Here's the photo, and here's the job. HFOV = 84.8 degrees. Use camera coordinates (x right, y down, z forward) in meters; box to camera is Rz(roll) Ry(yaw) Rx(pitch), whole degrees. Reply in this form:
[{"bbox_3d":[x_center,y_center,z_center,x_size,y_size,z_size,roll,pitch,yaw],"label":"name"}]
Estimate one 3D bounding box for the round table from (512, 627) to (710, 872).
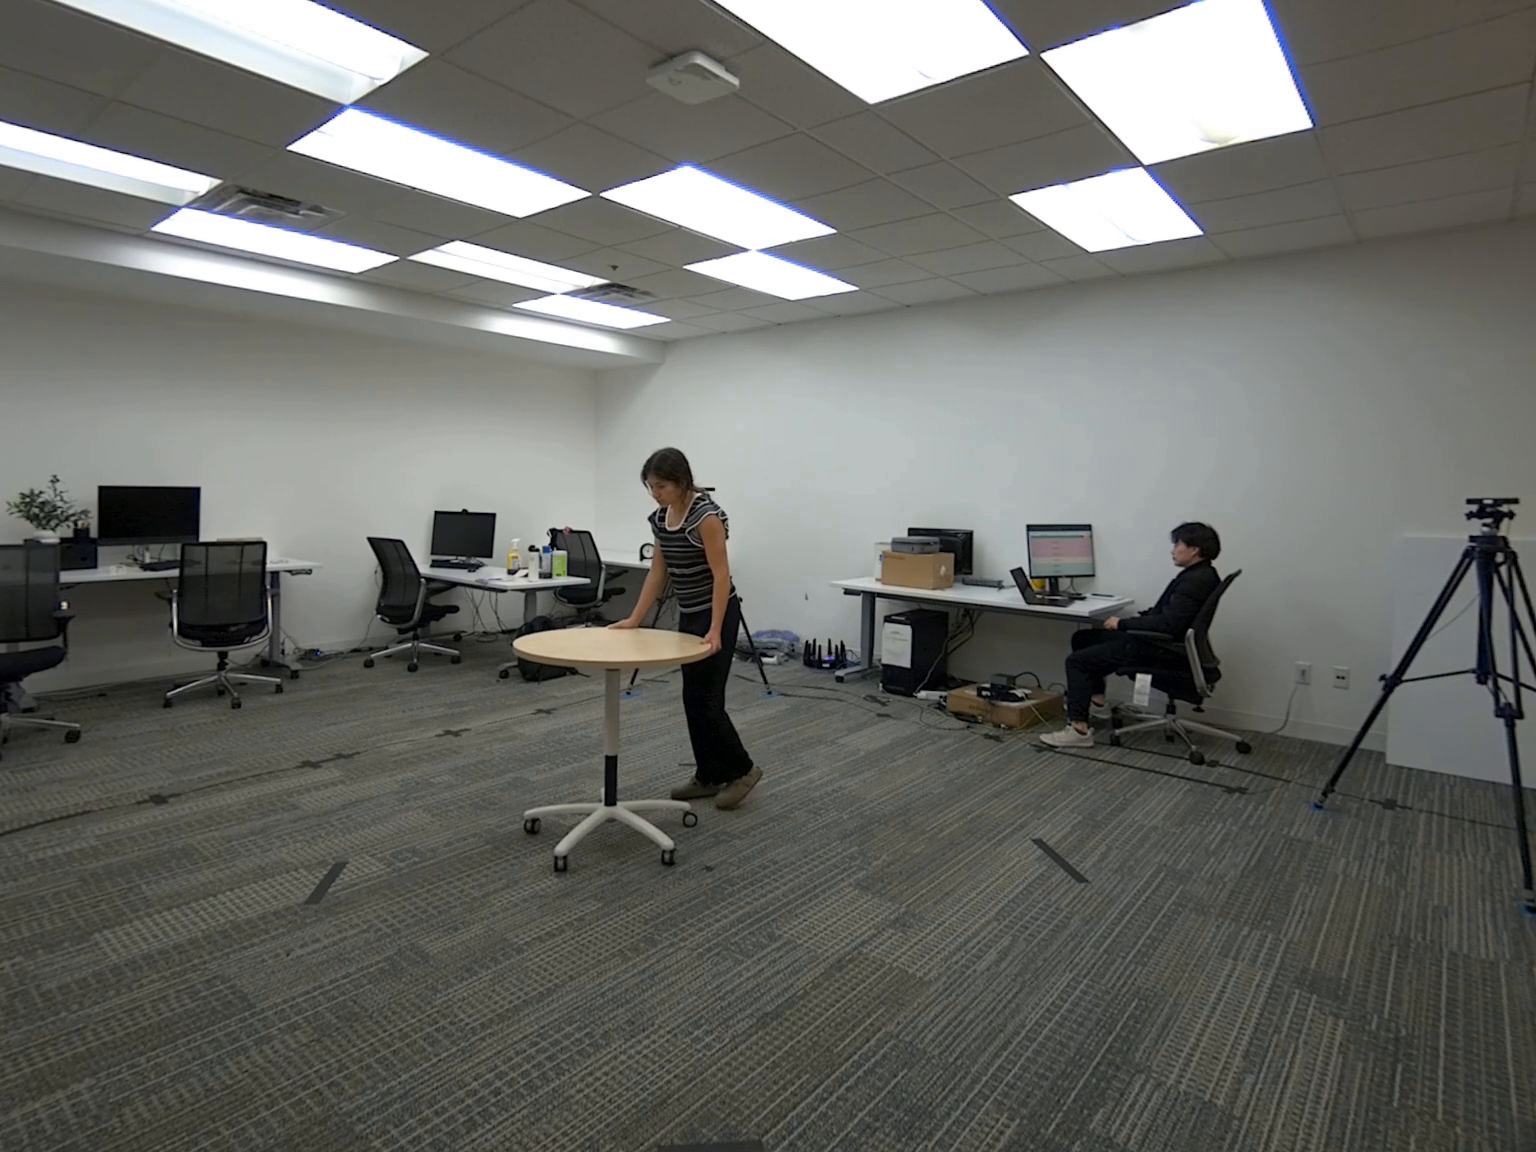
[{"bbox_3d":[-0.625,0.649,3.328,0.763,0.792,0.767,1,4,-2],"label":"round table"}]
